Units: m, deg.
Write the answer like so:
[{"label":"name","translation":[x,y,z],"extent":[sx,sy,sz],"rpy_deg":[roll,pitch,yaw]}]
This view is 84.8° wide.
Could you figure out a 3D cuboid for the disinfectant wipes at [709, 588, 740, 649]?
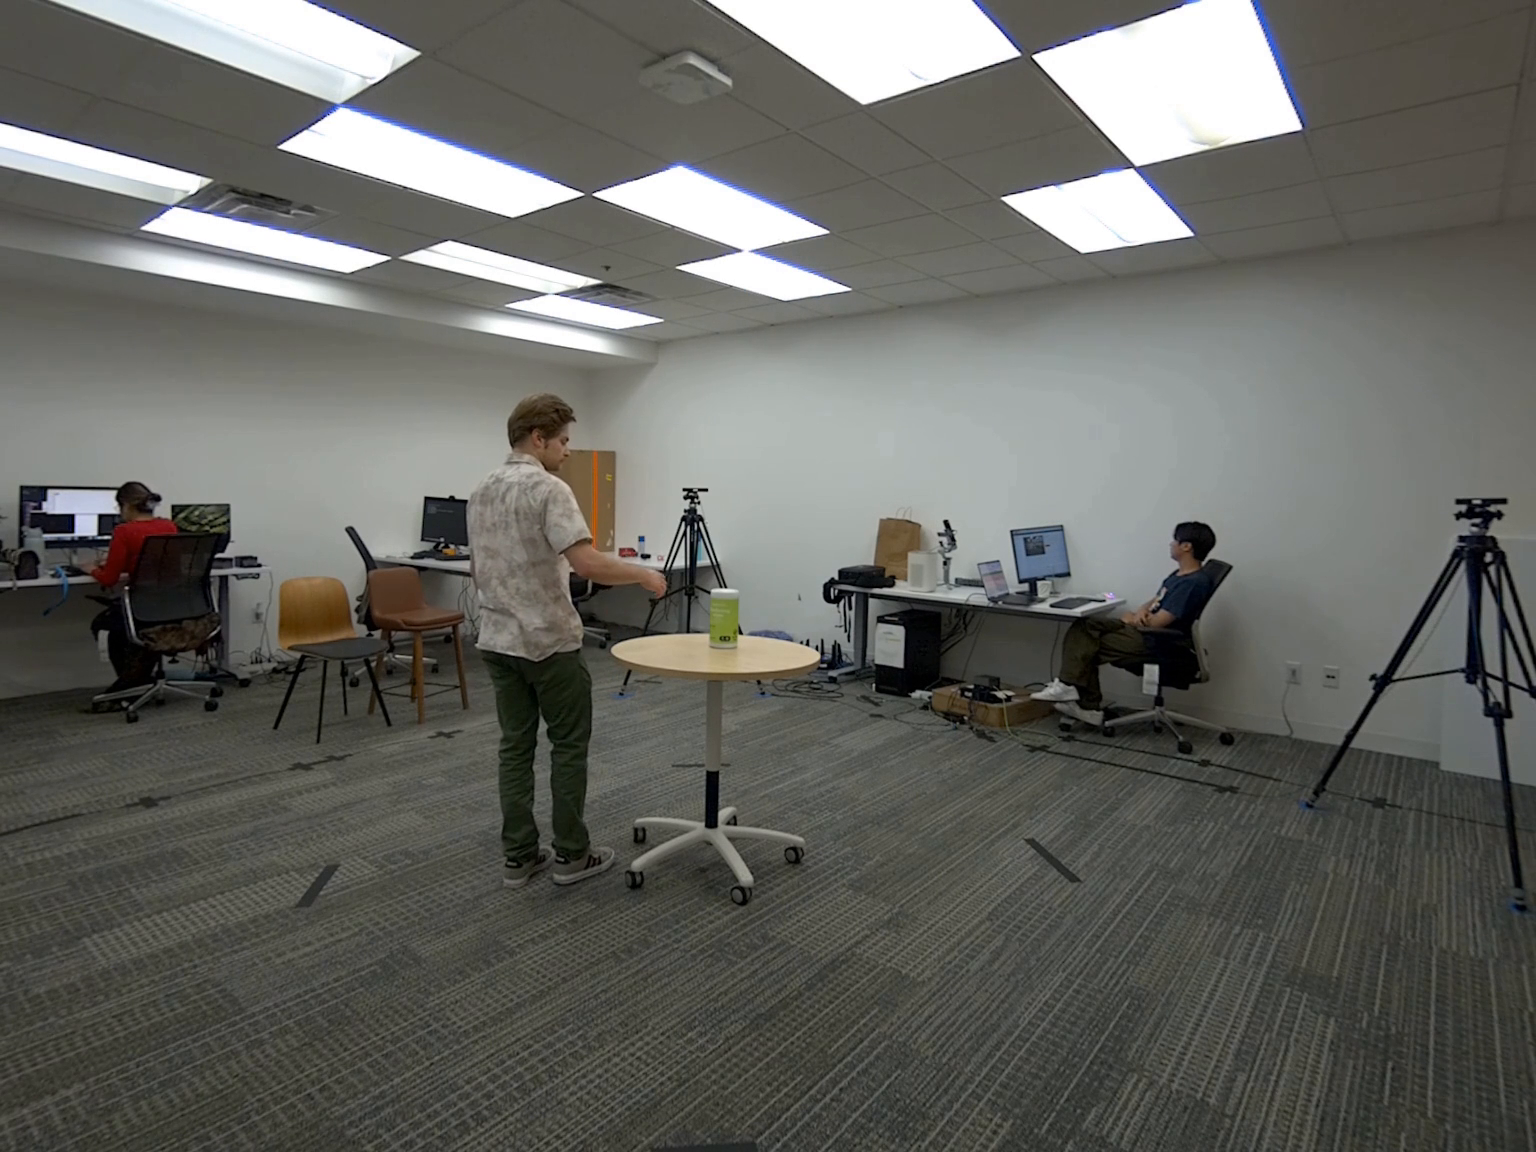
[{"label":"disinfectant wipes","translation":[-0.181,0.161,3.216],"extent":[0.117,0.217,0.118],"rpy_deg":[2,3,-2]}]
